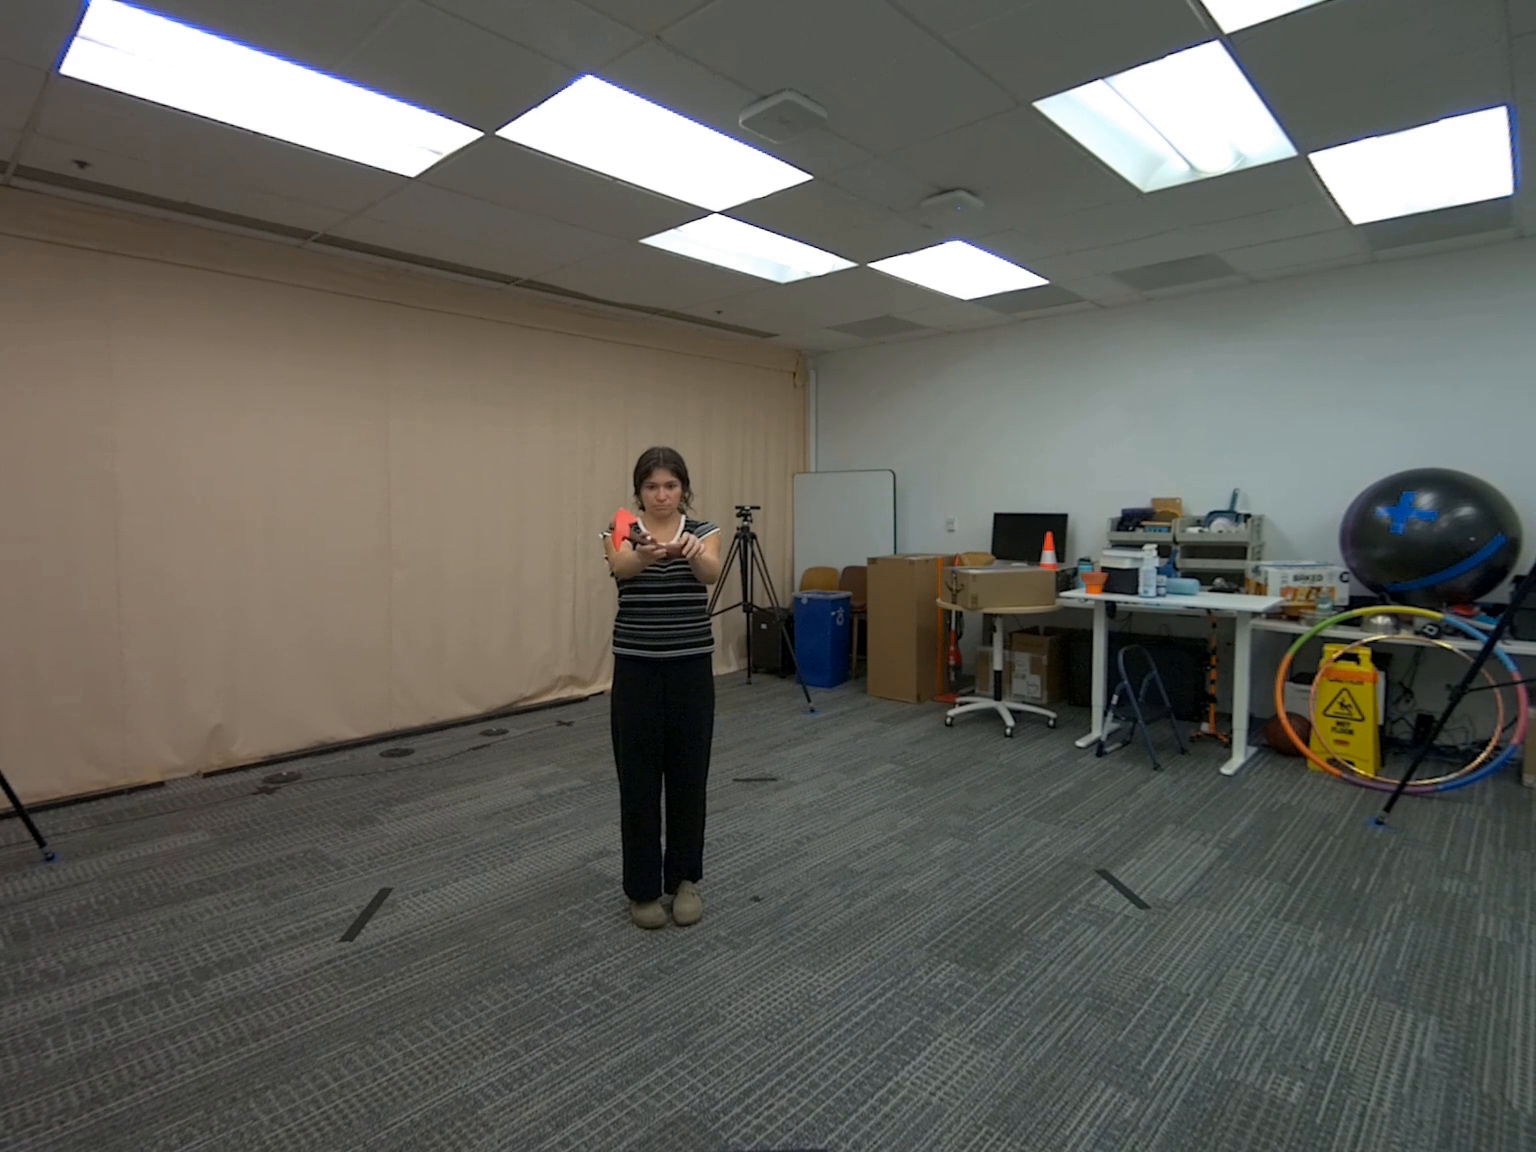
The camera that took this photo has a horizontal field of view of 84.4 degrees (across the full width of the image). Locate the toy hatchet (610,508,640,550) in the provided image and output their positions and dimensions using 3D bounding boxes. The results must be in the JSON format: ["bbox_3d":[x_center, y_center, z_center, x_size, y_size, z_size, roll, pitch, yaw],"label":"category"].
[{"bbox_3d":[-0.308,-0.117,2.312,0.261,0.133,0.030,6,-31,-44],"label":"toy hatchet"}]
